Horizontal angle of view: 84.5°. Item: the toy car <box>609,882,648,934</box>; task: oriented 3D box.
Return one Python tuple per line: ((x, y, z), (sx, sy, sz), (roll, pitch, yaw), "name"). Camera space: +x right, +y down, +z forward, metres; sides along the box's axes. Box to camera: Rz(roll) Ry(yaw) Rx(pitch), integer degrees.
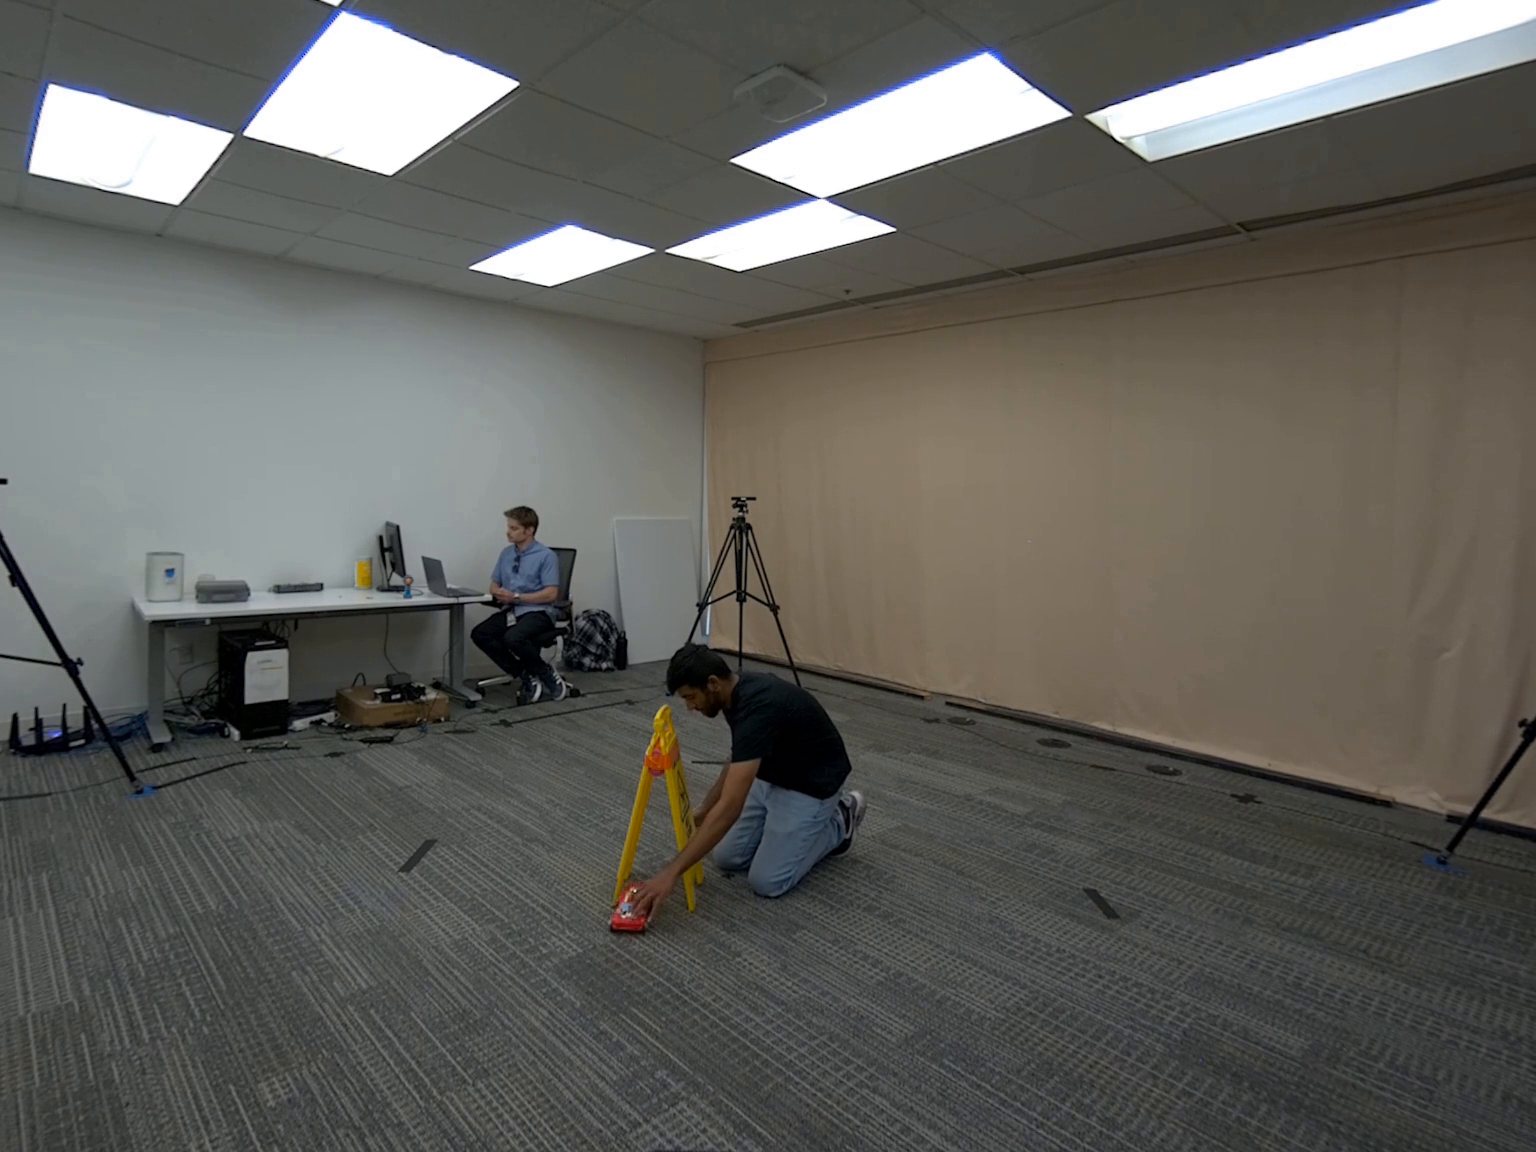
((-0.449, 1.098, 2.785), (0.130, 0.082, 0.257), (2, 16, 2), "toy car")
